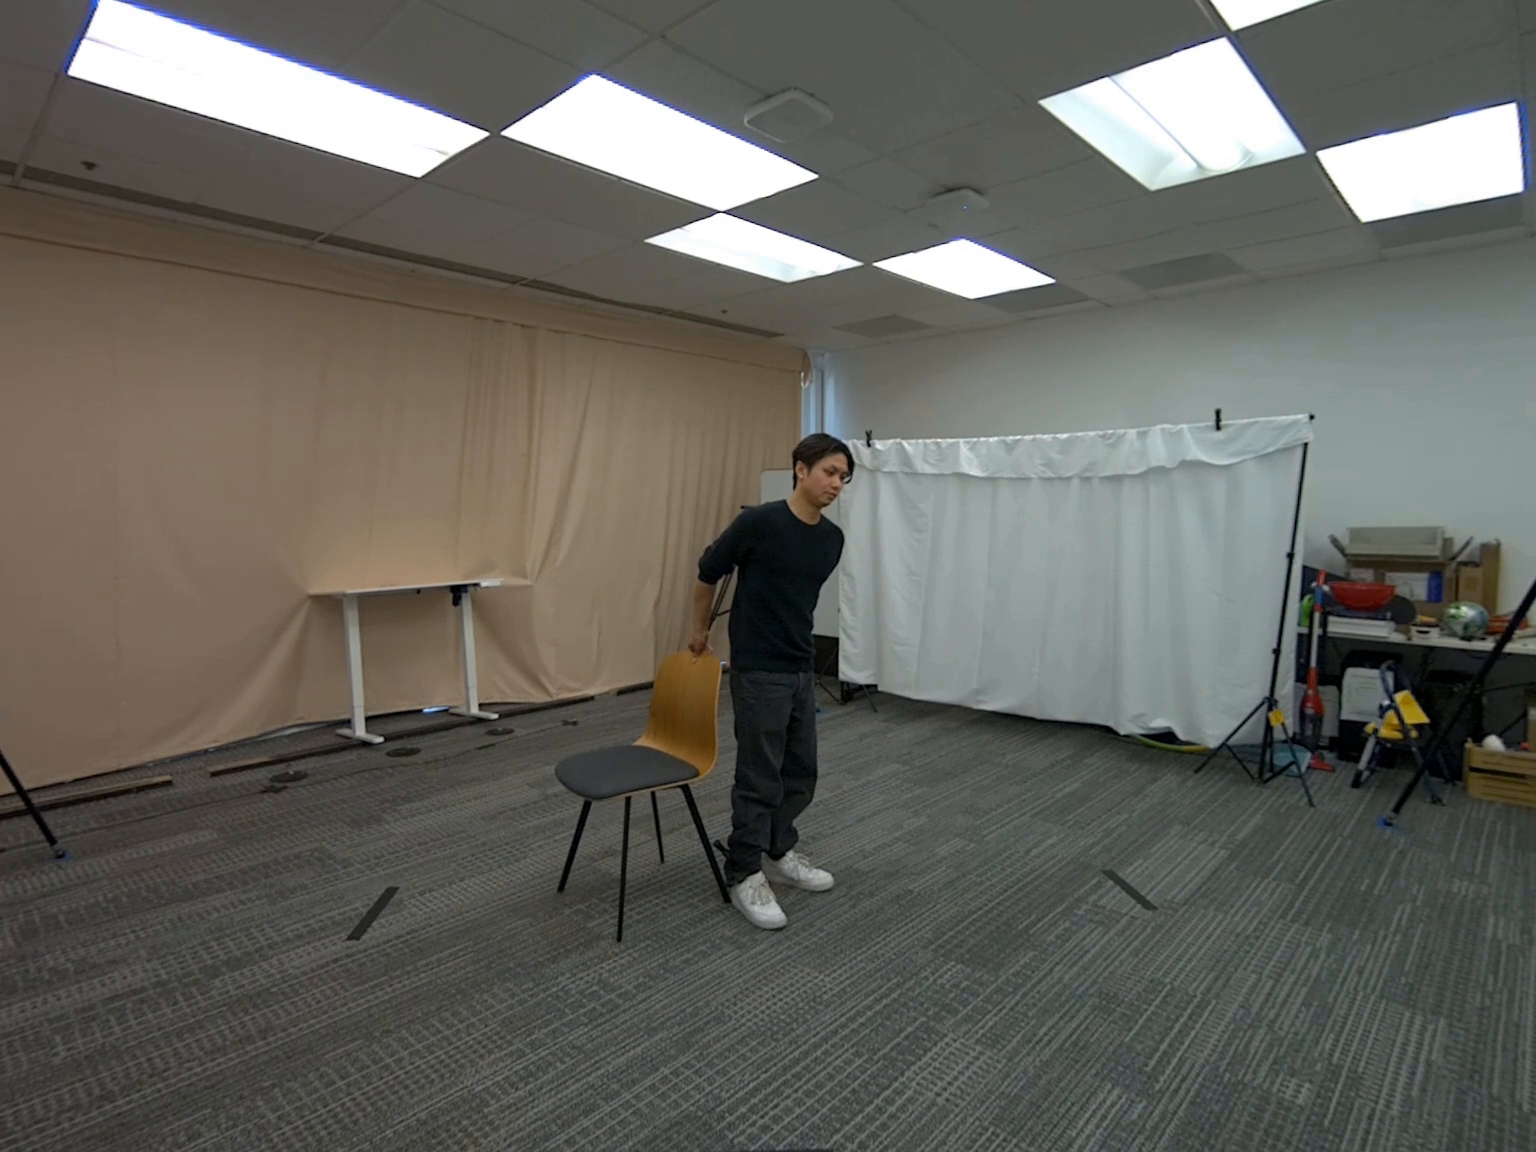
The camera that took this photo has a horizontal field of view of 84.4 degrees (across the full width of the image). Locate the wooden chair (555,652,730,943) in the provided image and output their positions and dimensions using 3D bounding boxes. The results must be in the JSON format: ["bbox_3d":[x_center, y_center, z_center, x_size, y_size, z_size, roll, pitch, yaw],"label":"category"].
[{"bbox_3d":[-0.454,0.725,2.970,0.507,0.877,0.493,3,1,-38],"label":"wooden chair"}]
